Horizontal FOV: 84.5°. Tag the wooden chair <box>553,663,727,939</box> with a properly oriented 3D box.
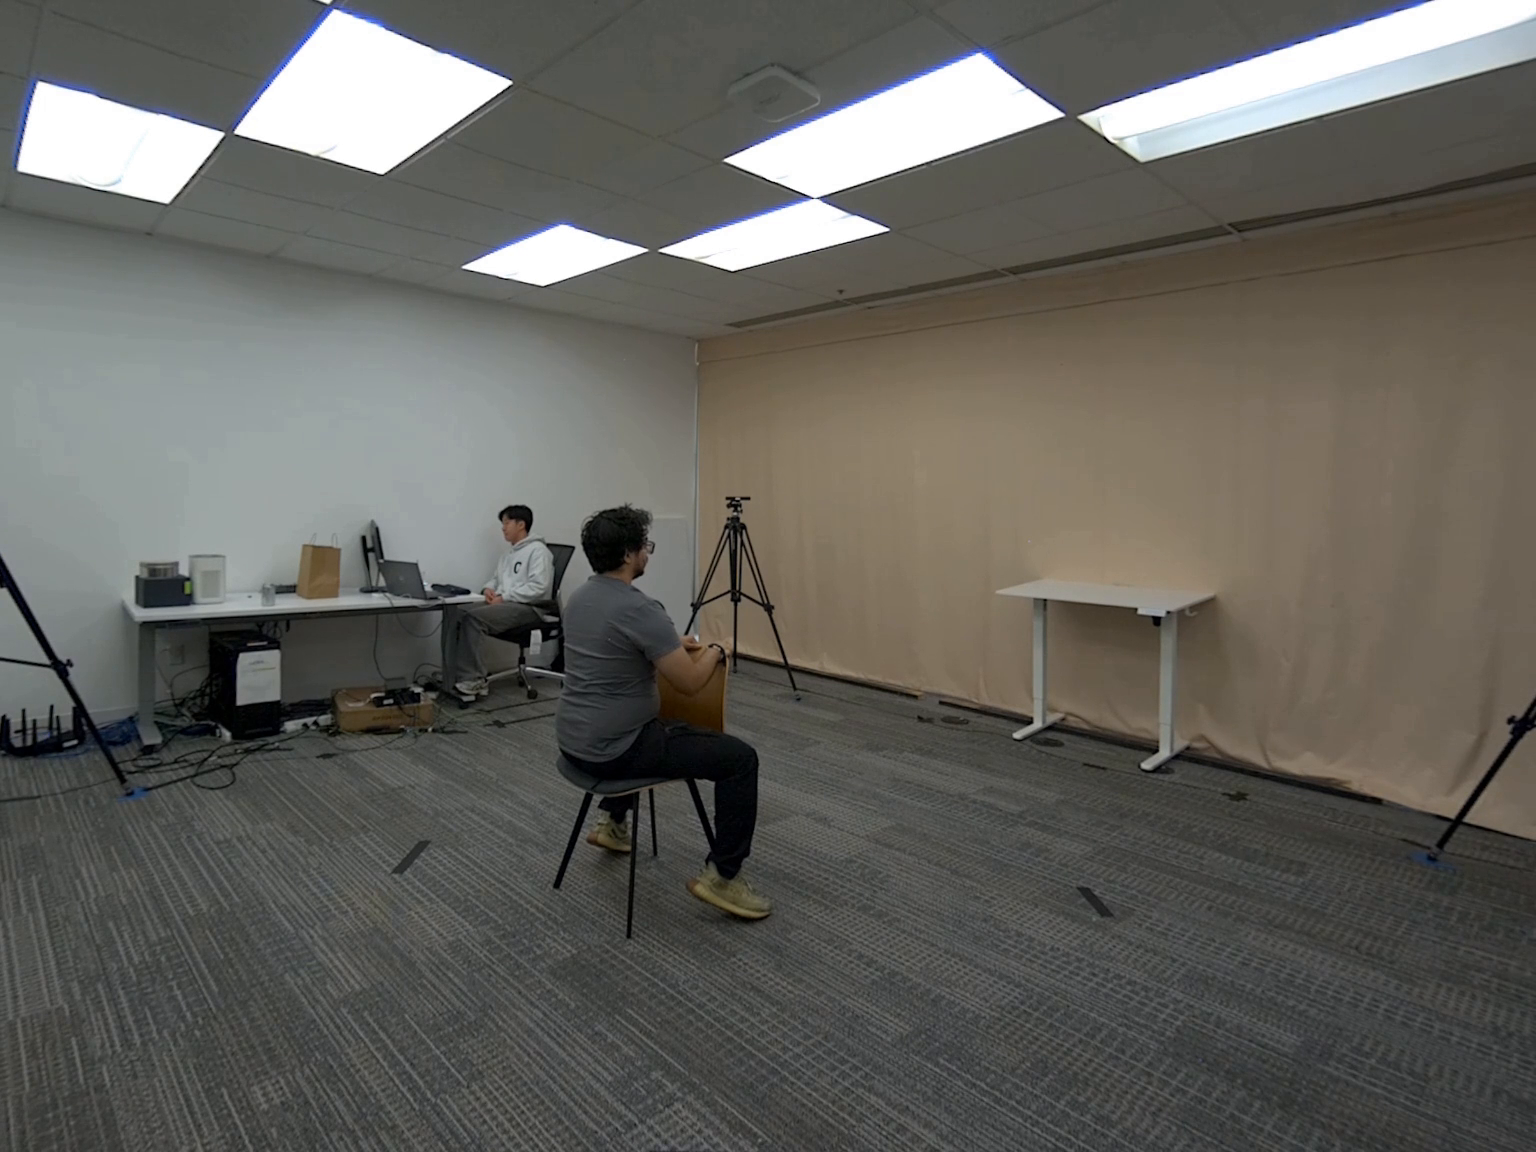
[{"bbox_3d":[-0.441,0.691,2.926,0.510,0.877,0.490,4,1,-43],"label":"wooden chair"}]
